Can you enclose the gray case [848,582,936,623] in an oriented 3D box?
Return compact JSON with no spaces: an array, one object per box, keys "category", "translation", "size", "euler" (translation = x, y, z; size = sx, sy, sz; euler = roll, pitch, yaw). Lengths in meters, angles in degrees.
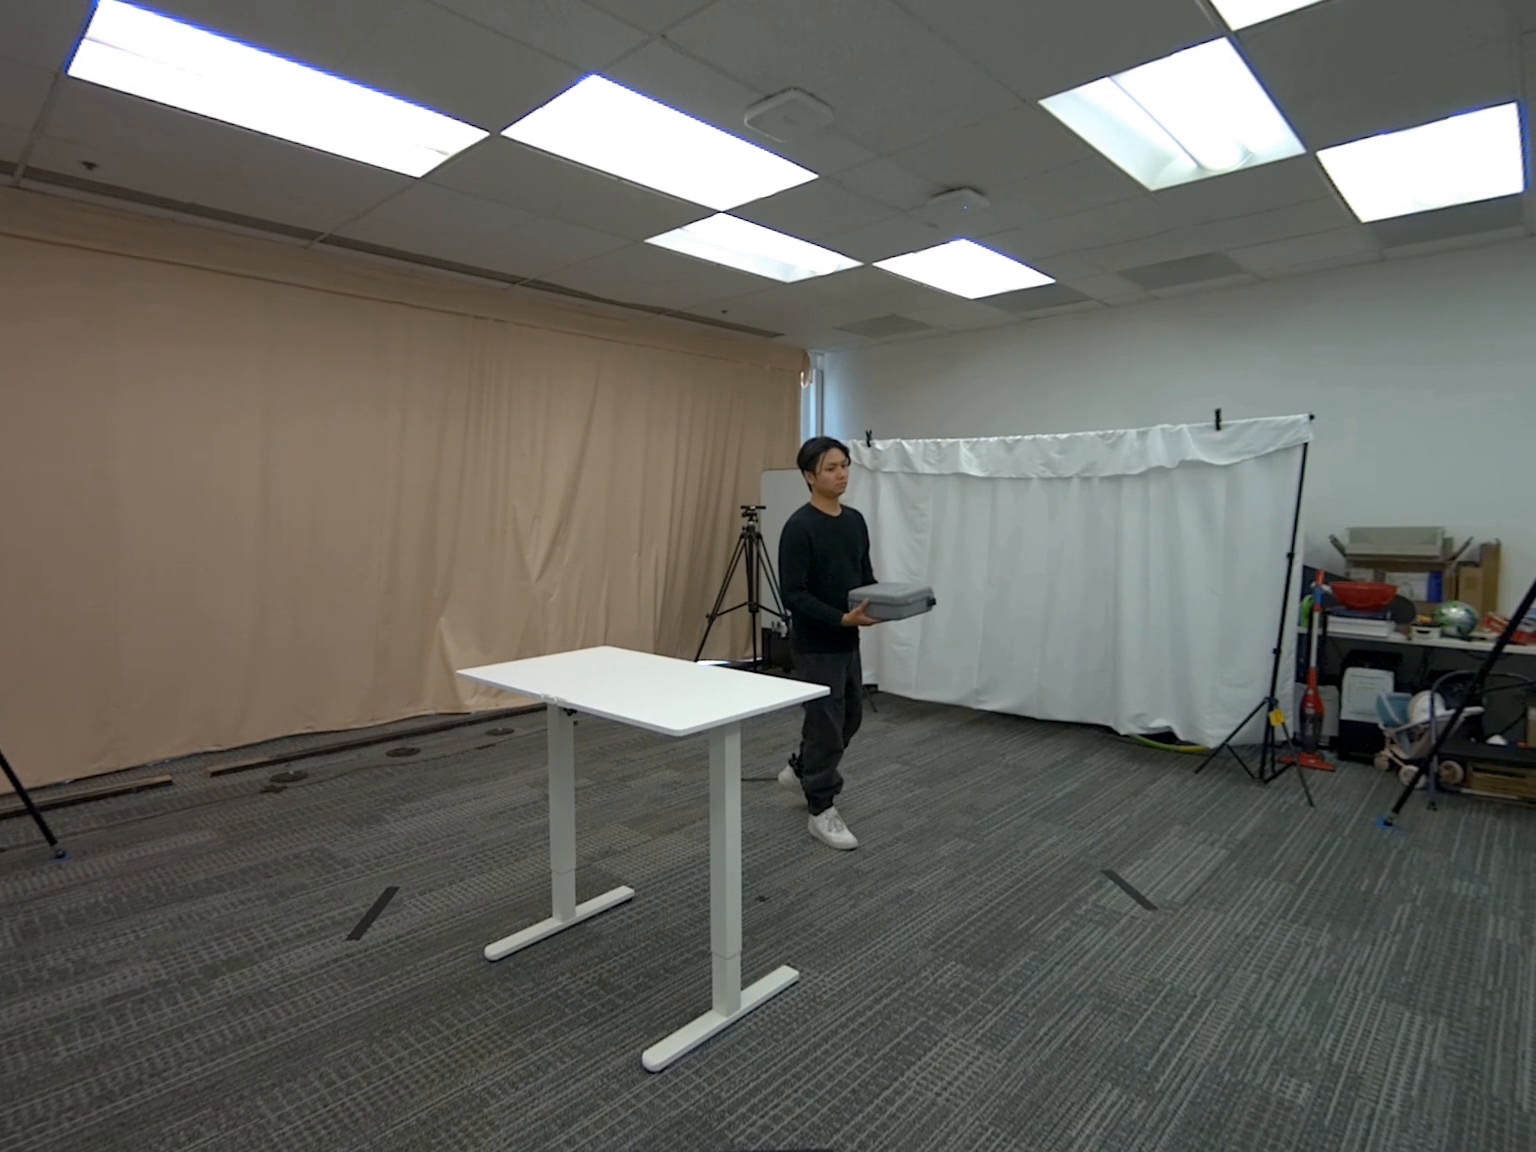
[{"category":"gray case","translation":[0.480,0.097,3.301],"size":[0.253,0.103,0.266],"euler":[-13,14,-40]}]
